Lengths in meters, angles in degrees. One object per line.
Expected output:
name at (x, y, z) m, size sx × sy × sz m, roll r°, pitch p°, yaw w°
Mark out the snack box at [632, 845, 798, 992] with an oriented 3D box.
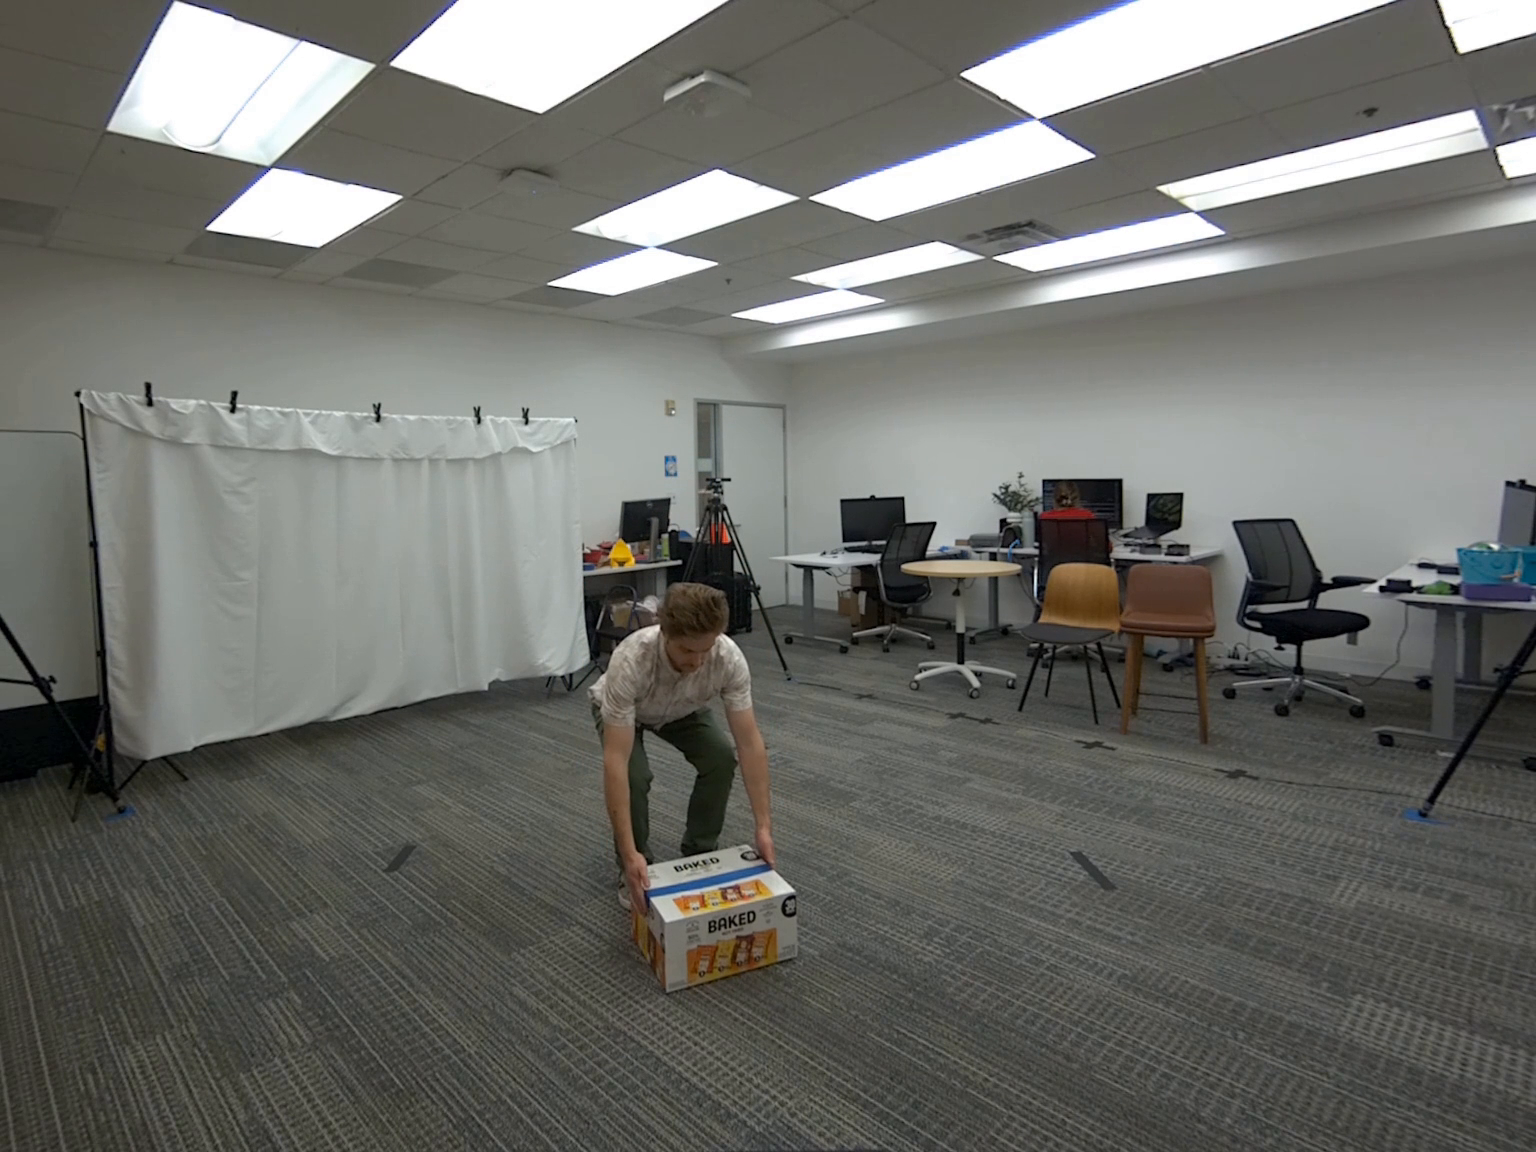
snack box at (-0.165, 1.002, 2.549) m, size 0.397 × 0.204 × 0.349 m, roll -5°, pitch 8°, yaw -24°
